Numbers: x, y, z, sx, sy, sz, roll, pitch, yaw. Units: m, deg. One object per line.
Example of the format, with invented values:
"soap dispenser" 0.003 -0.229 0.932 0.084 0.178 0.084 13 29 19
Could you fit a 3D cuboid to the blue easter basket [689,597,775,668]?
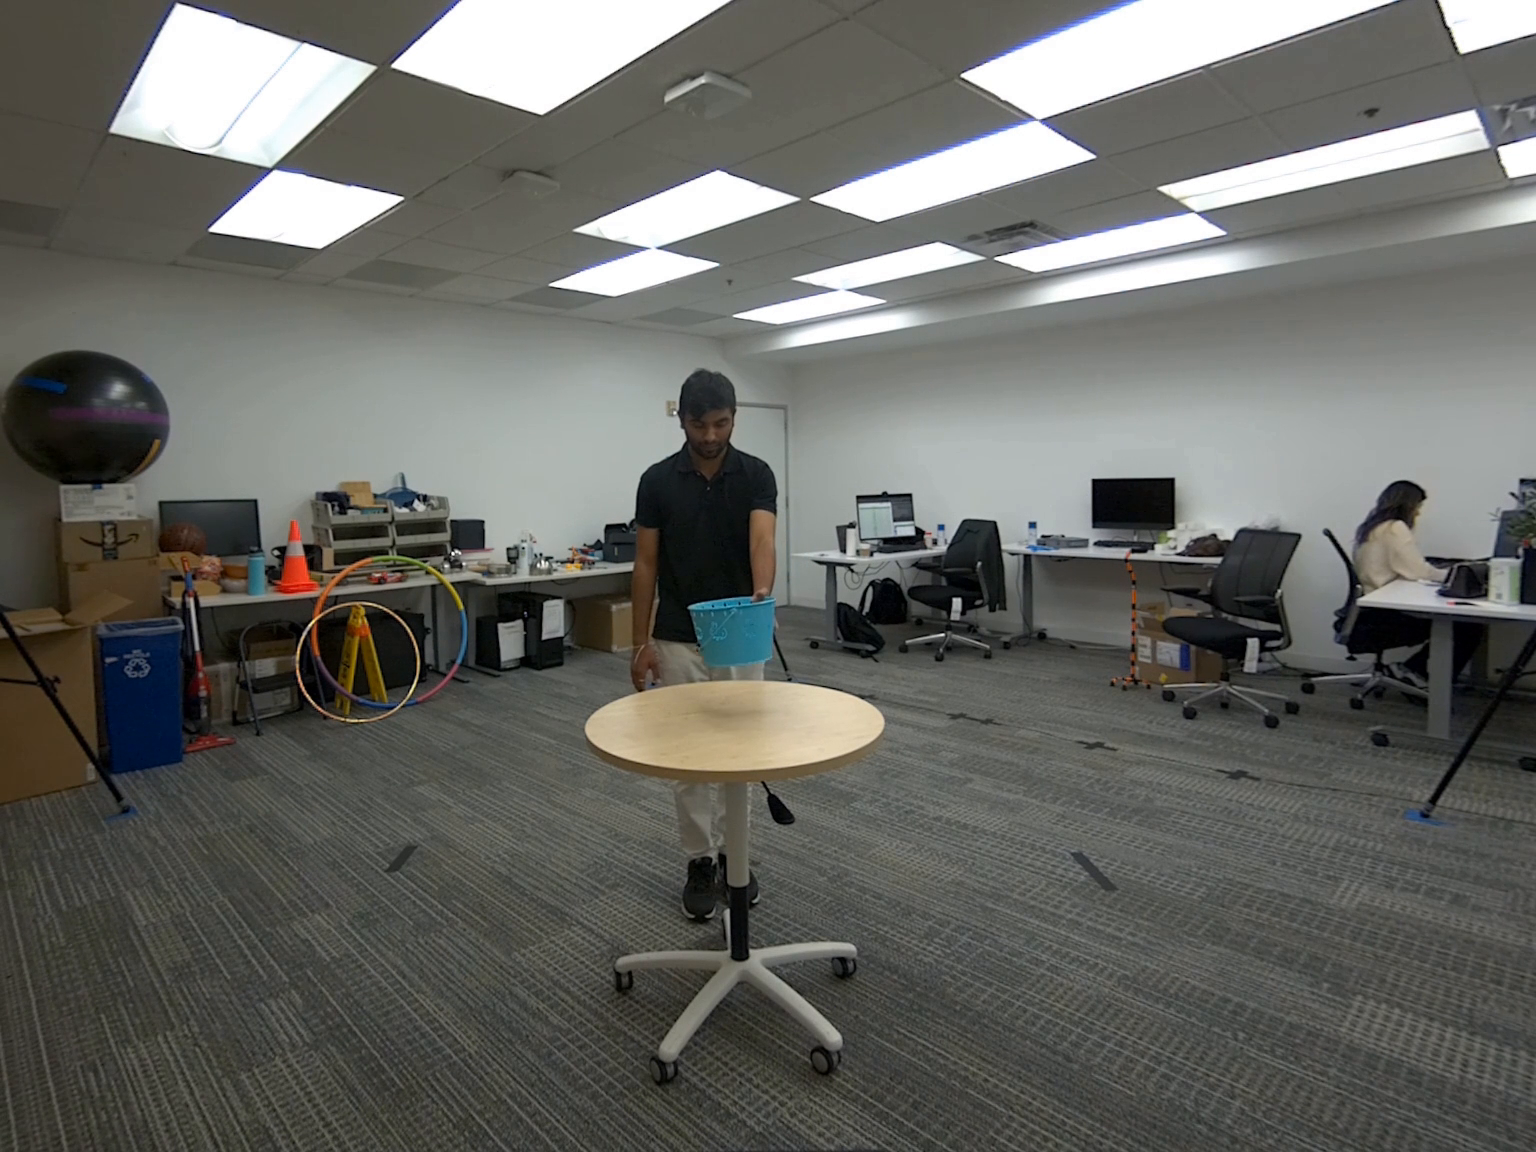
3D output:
"blue easter basket" -0.086 0.145 2.229 0.243 0.156 0.244 -5 2 -2
